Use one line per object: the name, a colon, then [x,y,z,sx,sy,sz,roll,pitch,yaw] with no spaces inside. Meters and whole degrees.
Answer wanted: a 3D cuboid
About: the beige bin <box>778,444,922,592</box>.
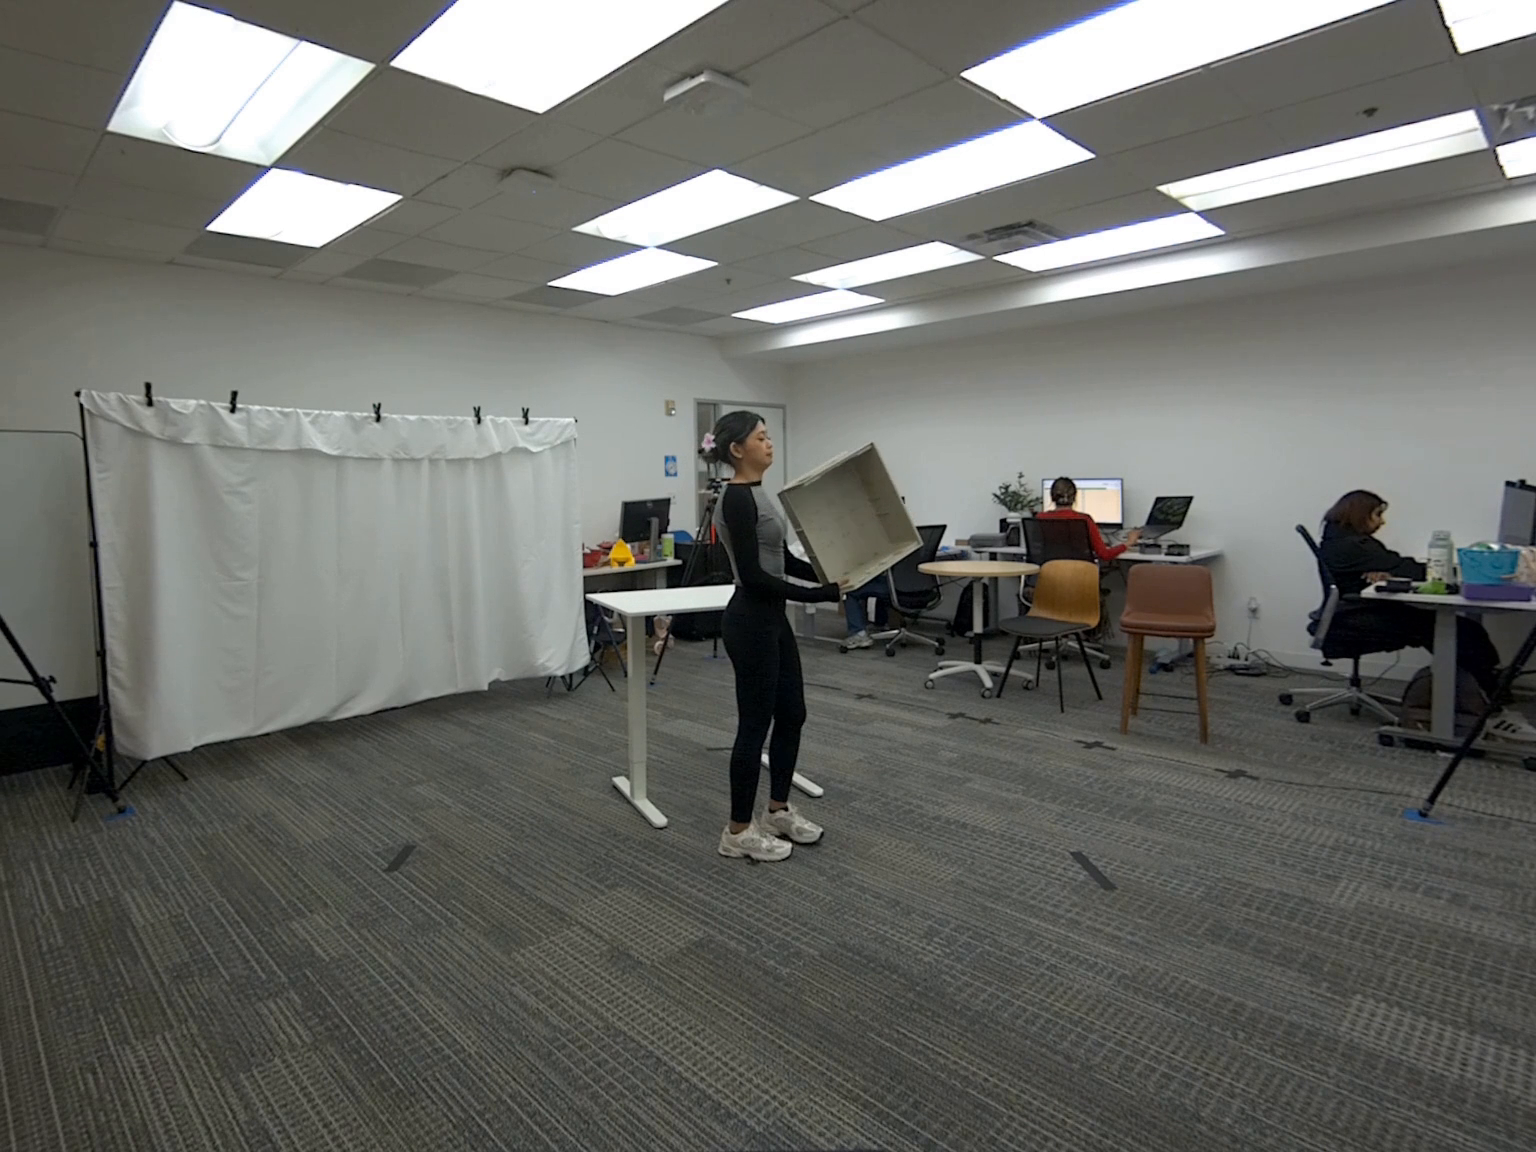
beige bin: [0.290,-0.203,3.091,0.374,0.418,0.192,-32,9,-26]
